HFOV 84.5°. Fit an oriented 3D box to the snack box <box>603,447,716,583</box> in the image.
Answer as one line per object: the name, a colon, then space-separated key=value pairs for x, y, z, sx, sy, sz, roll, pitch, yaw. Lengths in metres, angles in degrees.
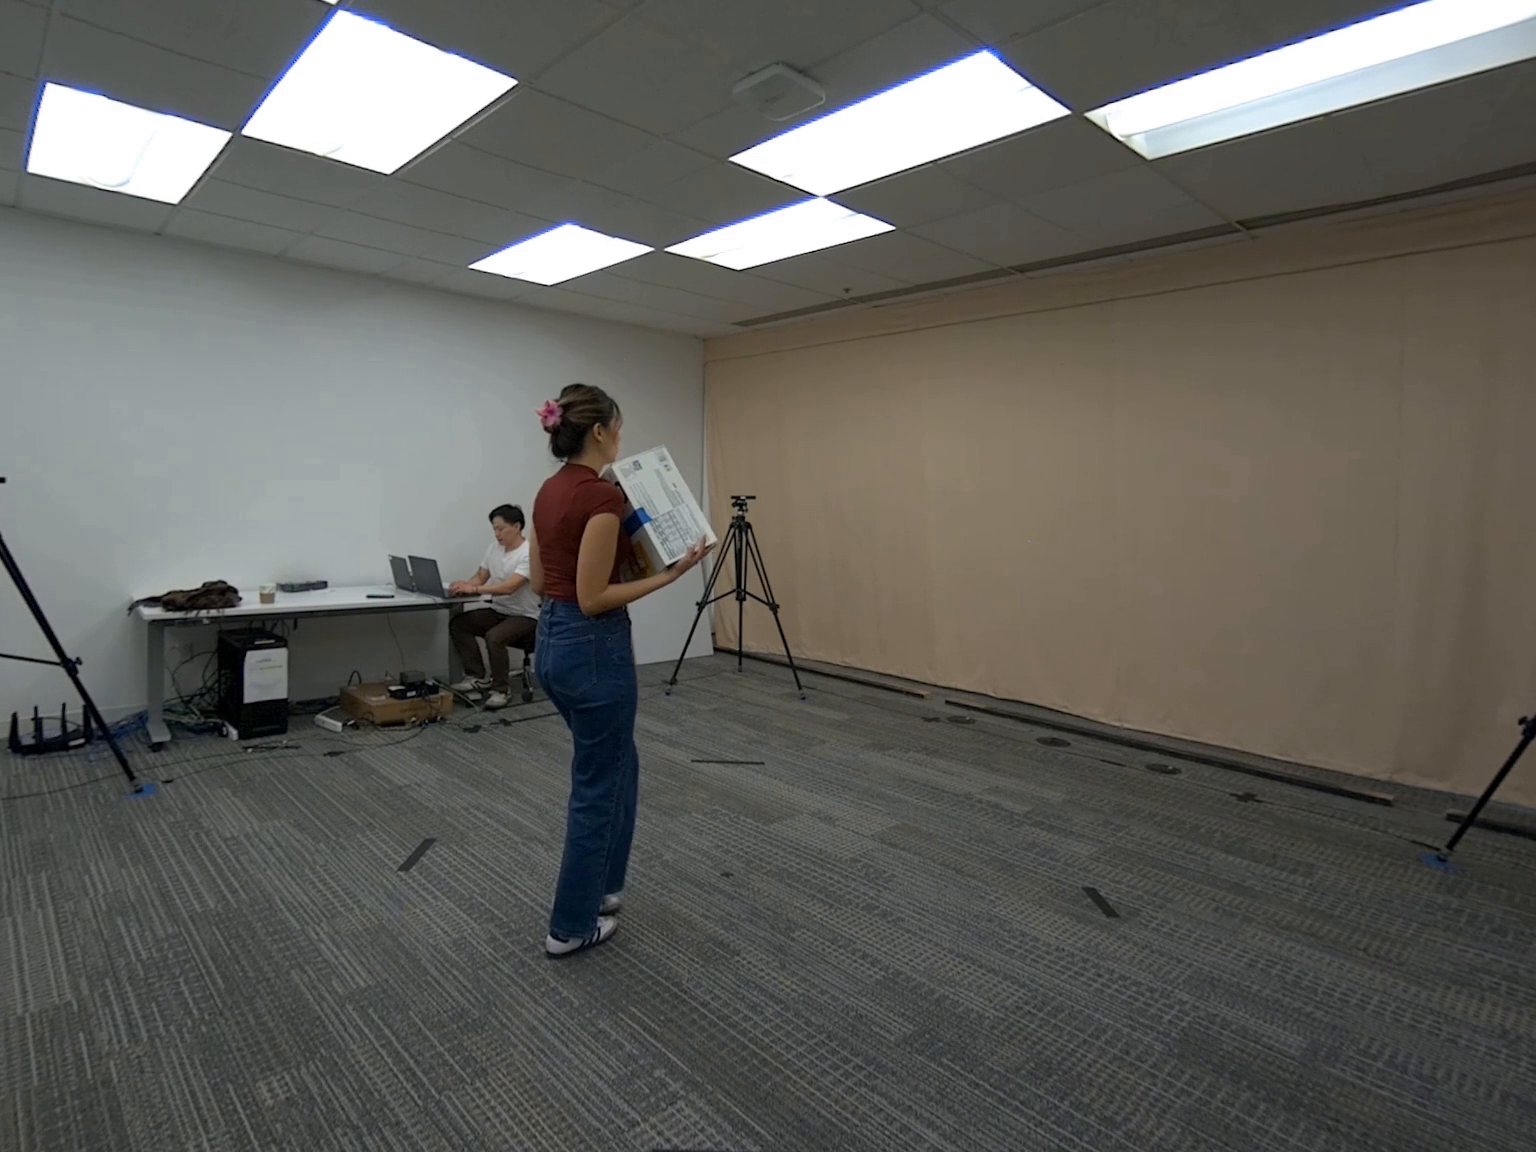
snack box: x=-0.411 y=-0.155 z=2.654 sx=0.203 sy=0.342 sz=0.408 roll=-26 pitch=-5 yaw=-35
